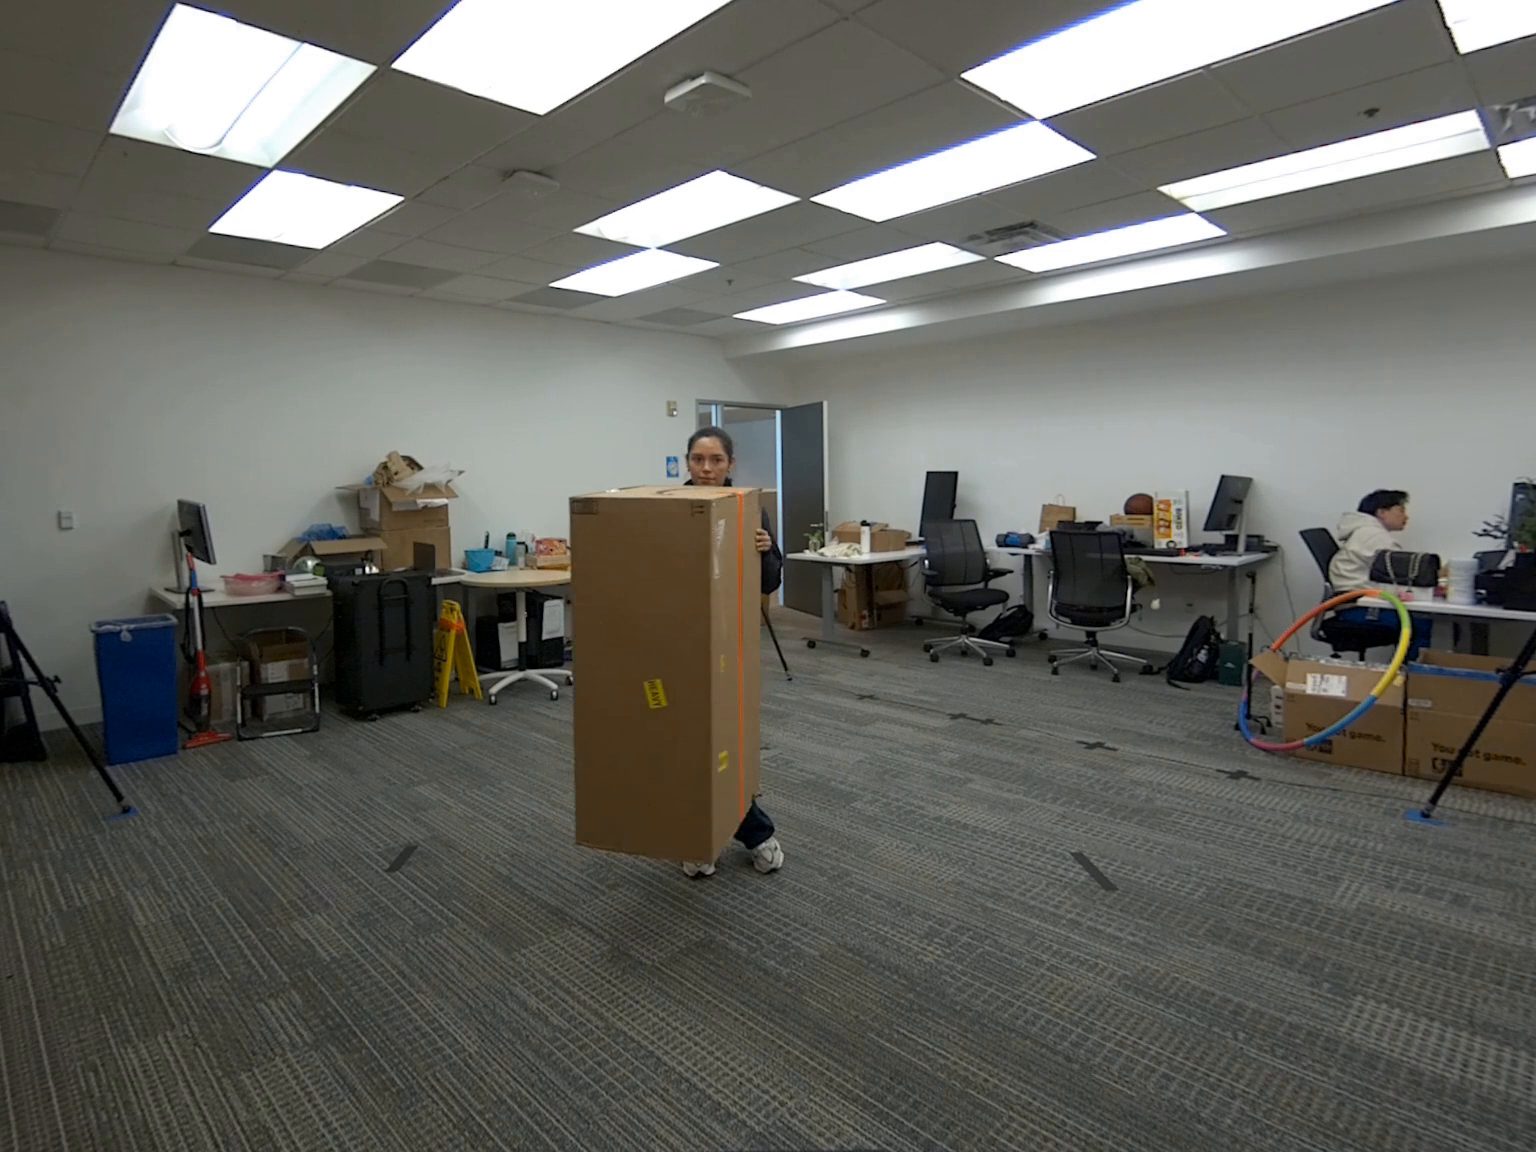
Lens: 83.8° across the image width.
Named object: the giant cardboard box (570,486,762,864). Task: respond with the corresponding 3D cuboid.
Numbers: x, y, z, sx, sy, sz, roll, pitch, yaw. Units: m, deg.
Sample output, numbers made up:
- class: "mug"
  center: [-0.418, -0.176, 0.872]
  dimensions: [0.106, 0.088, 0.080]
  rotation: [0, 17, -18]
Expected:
- class: "giant cardboard box"
  center: [-0.286, 0.251, 2.662]
  dimensions: [0.433, 1.020, 0.572]
  rotation: [1, 7, 14]
